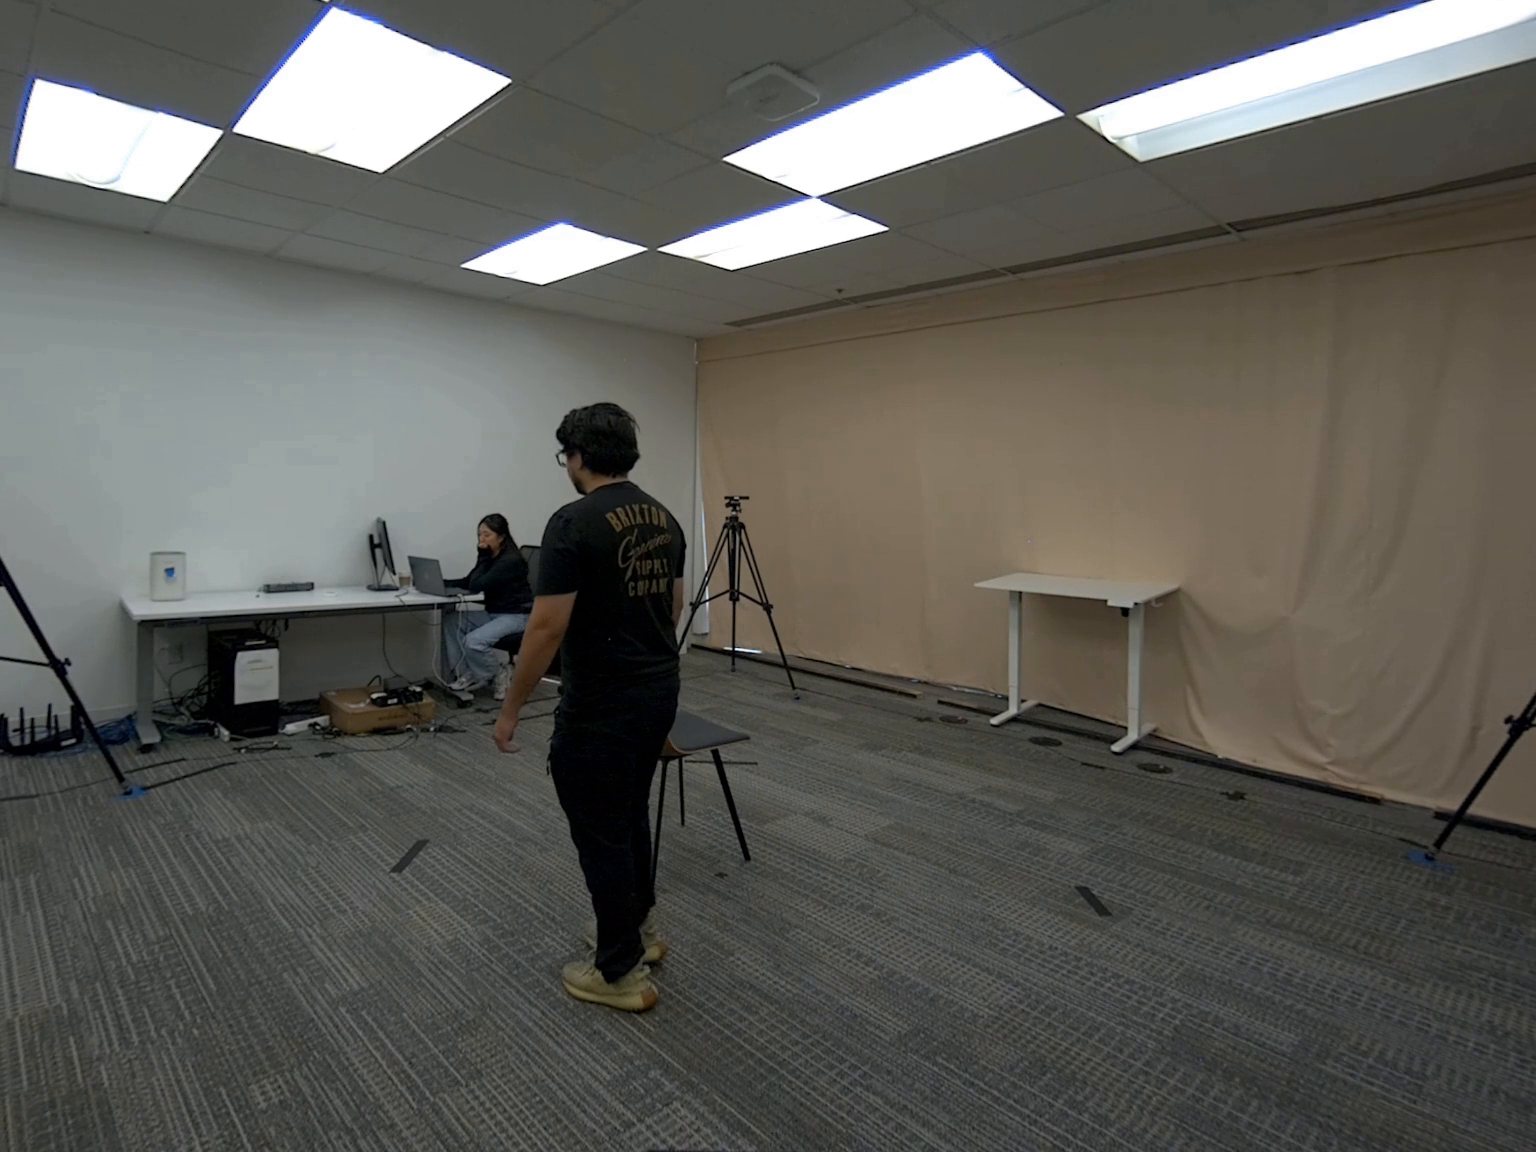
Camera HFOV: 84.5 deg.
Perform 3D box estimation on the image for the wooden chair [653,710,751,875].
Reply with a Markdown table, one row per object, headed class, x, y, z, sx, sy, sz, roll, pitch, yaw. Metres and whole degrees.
| class | x | y | z | sx | sy | sz | roll | pitch | yaw |
| --- | --- | --- | --- | --- | --- | --- | --- | --- | --- |
| wooden chair | -0.375 | 0.661 | 3.248 | 0.512 | 0.873 | 0.490 | -7 | 8 | -39 |
